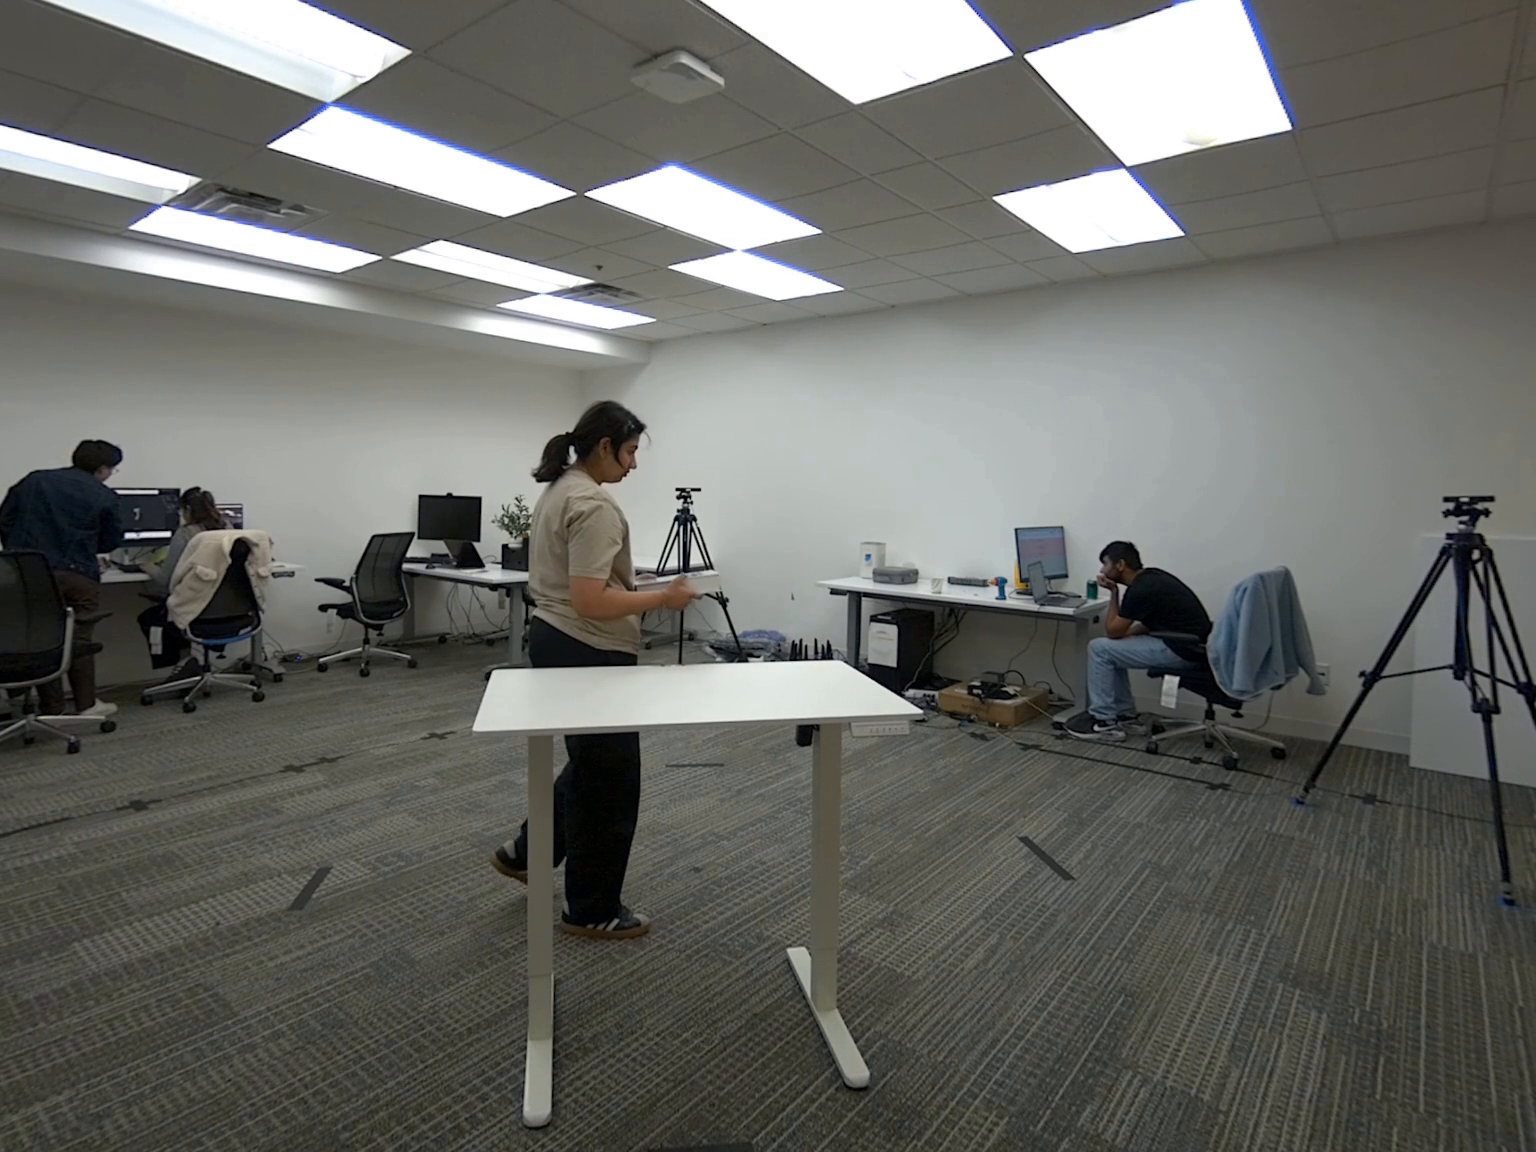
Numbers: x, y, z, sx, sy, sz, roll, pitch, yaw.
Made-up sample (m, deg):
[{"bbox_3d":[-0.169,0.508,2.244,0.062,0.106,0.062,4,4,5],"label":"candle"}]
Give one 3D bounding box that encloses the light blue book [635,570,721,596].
[{"bbox_3d":[-0.306,0.032,2.696,0.187,0.058,0.269,-15,10,-33],"label":"light blue book"}]
